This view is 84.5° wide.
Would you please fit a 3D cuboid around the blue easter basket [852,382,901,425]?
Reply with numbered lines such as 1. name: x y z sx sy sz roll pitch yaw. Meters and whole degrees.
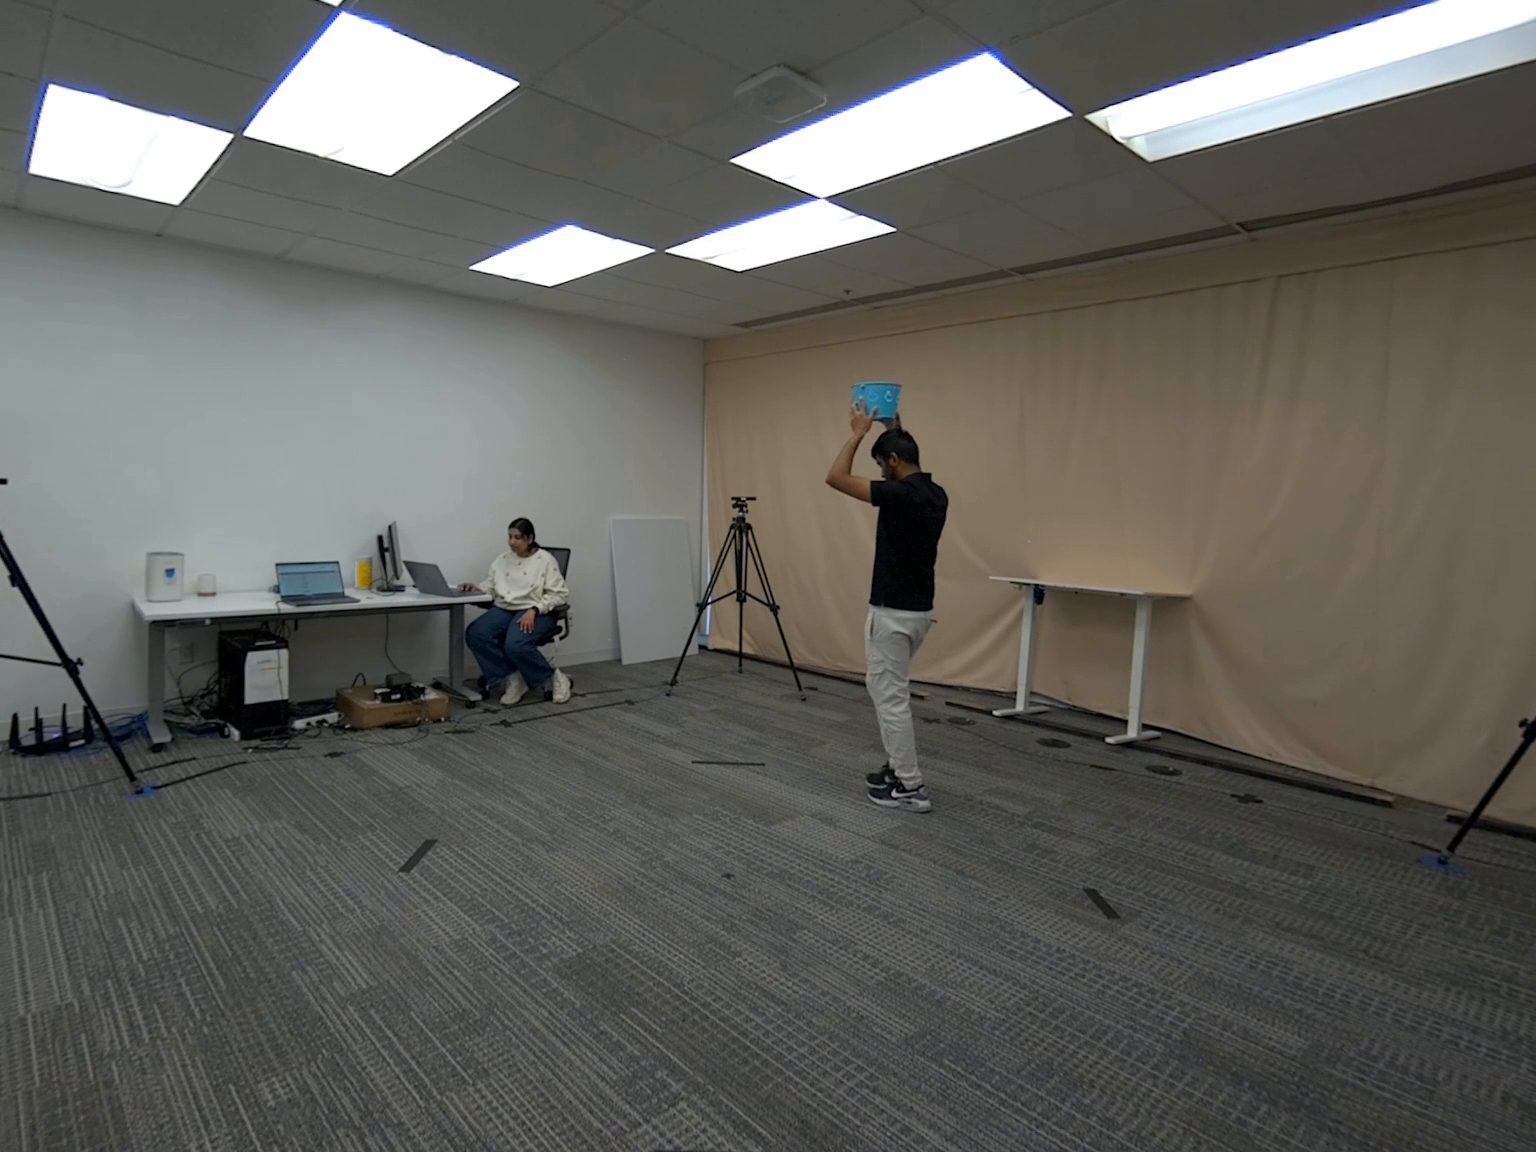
1. blue easter basket: 0.514 -0.810 3.921 0.243 0.155 0.244 2 3 -1
